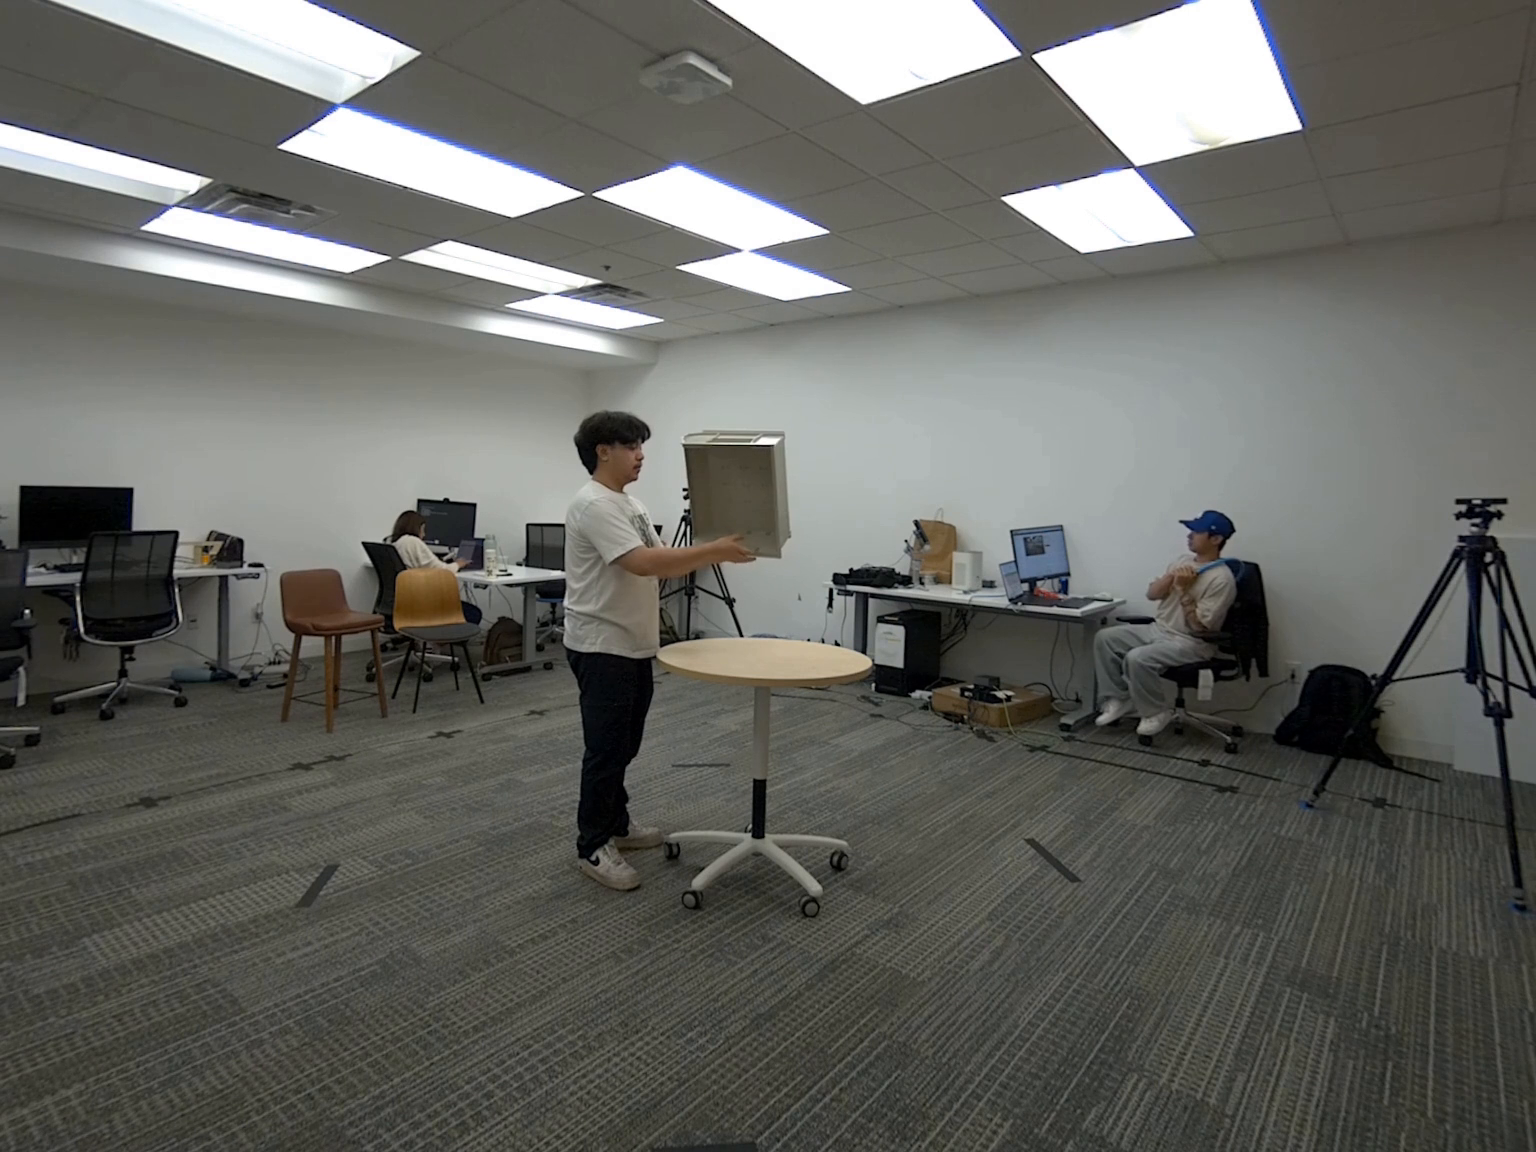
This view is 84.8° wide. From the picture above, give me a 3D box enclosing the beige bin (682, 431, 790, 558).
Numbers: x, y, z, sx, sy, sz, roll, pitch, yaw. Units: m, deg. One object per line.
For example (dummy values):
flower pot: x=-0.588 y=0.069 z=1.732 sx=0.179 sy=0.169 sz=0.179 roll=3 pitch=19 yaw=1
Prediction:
beige bin: x=-0.134 y=-0.304 z=3.068 sx=0.386 sy=0.414 sz=0.189 roll=4 pitch=22 yaw=20
